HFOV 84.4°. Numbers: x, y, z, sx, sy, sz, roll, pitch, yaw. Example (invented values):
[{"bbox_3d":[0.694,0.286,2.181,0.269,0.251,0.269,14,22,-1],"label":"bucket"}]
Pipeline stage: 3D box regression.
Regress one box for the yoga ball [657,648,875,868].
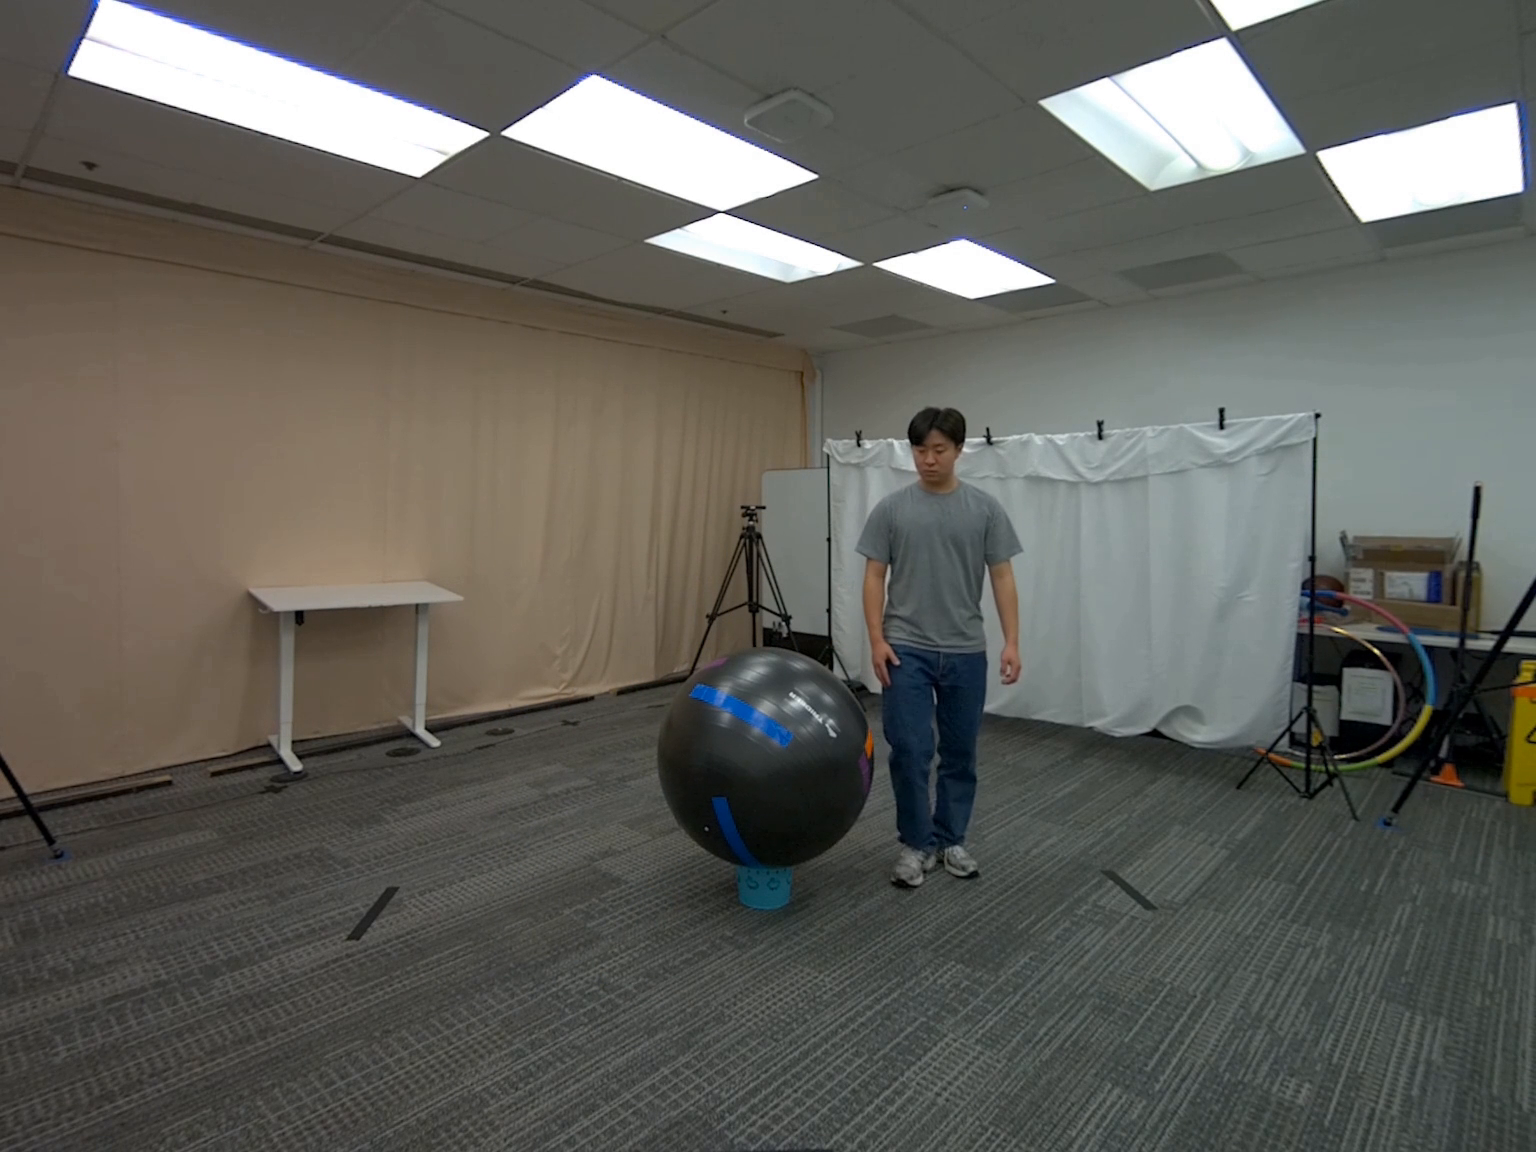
[{"bbox_3d":[-0.013,0.632,2.977,0.757,0.756,0.760,0,4,-2],"label":"yoga ball"}]
